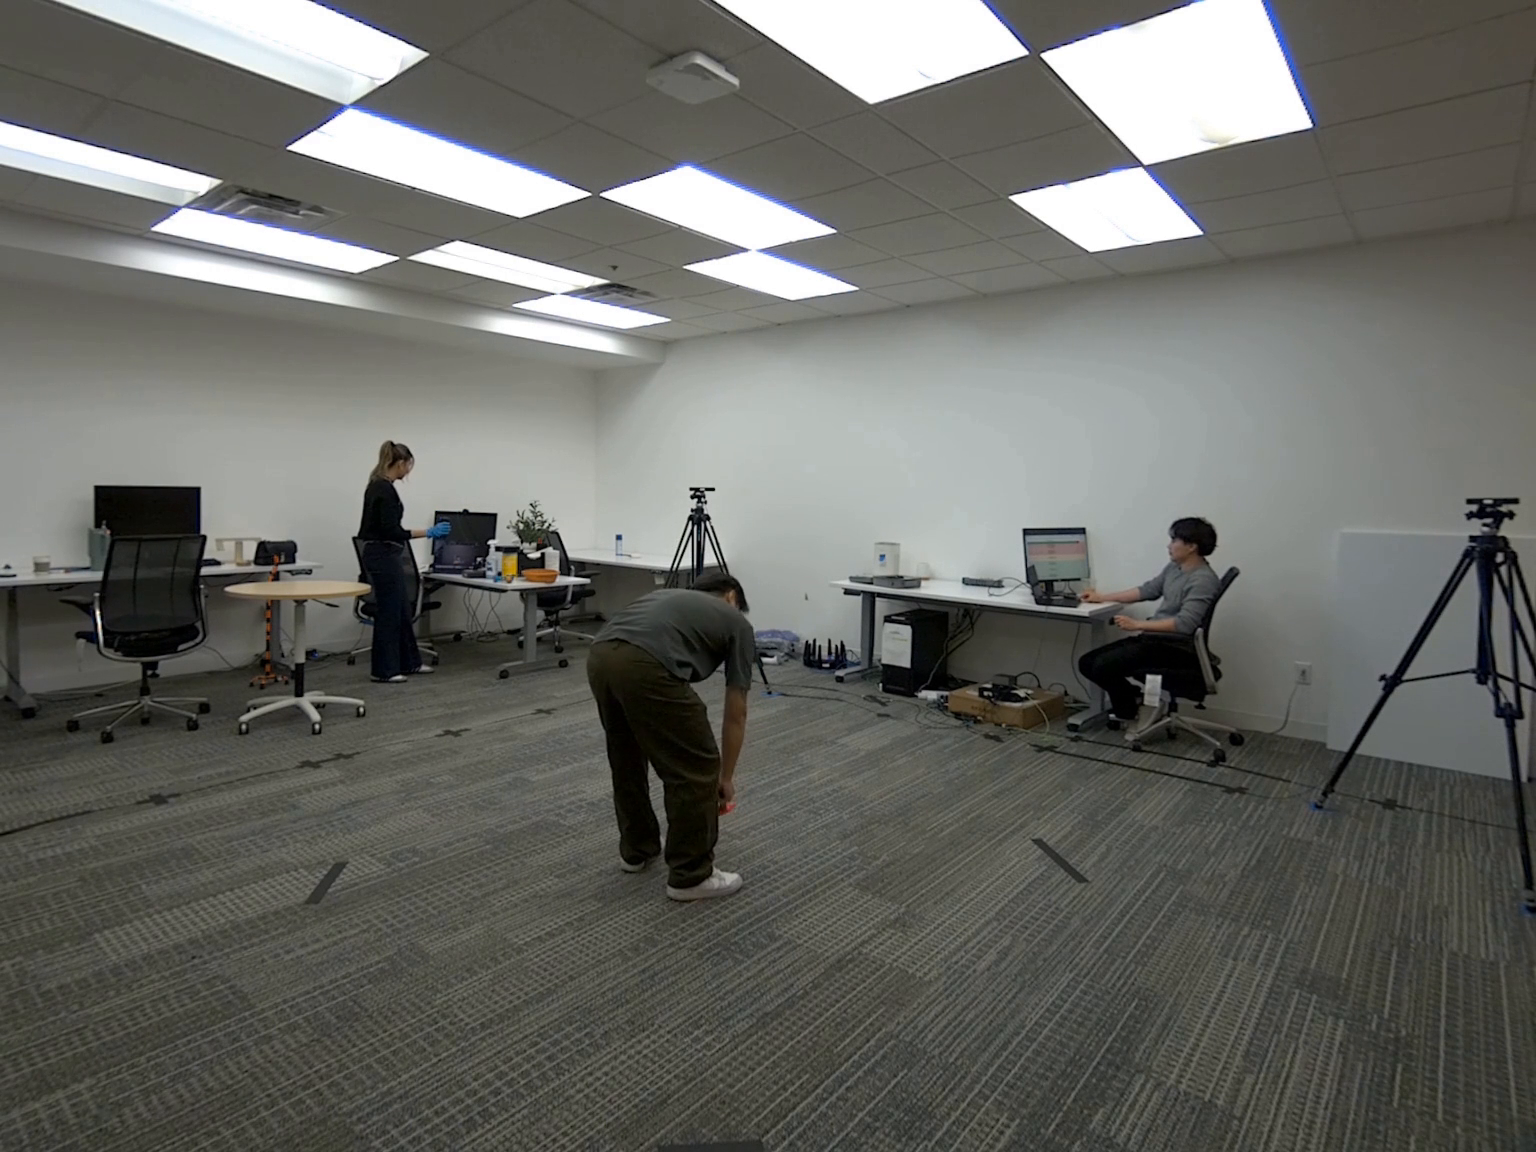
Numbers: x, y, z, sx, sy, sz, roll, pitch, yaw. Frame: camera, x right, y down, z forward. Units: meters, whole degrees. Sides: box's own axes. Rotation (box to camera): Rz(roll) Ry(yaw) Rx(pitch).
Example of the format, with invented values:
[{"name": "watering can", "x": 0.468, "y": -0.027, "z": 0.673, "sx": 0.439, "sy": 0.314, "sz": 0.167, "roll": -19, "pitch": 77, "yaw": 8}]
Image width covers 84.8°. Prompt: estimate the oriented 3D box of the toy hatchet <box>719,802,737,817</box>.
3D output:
[{"name": "toy hatchet", "x": -0.198, "y": 0.900, "z": 3.197, "sx": 0.132, "sy": 0.029, "sz": 0.267, "roll": -16, "pitch": 2, "yaw": 15}]
